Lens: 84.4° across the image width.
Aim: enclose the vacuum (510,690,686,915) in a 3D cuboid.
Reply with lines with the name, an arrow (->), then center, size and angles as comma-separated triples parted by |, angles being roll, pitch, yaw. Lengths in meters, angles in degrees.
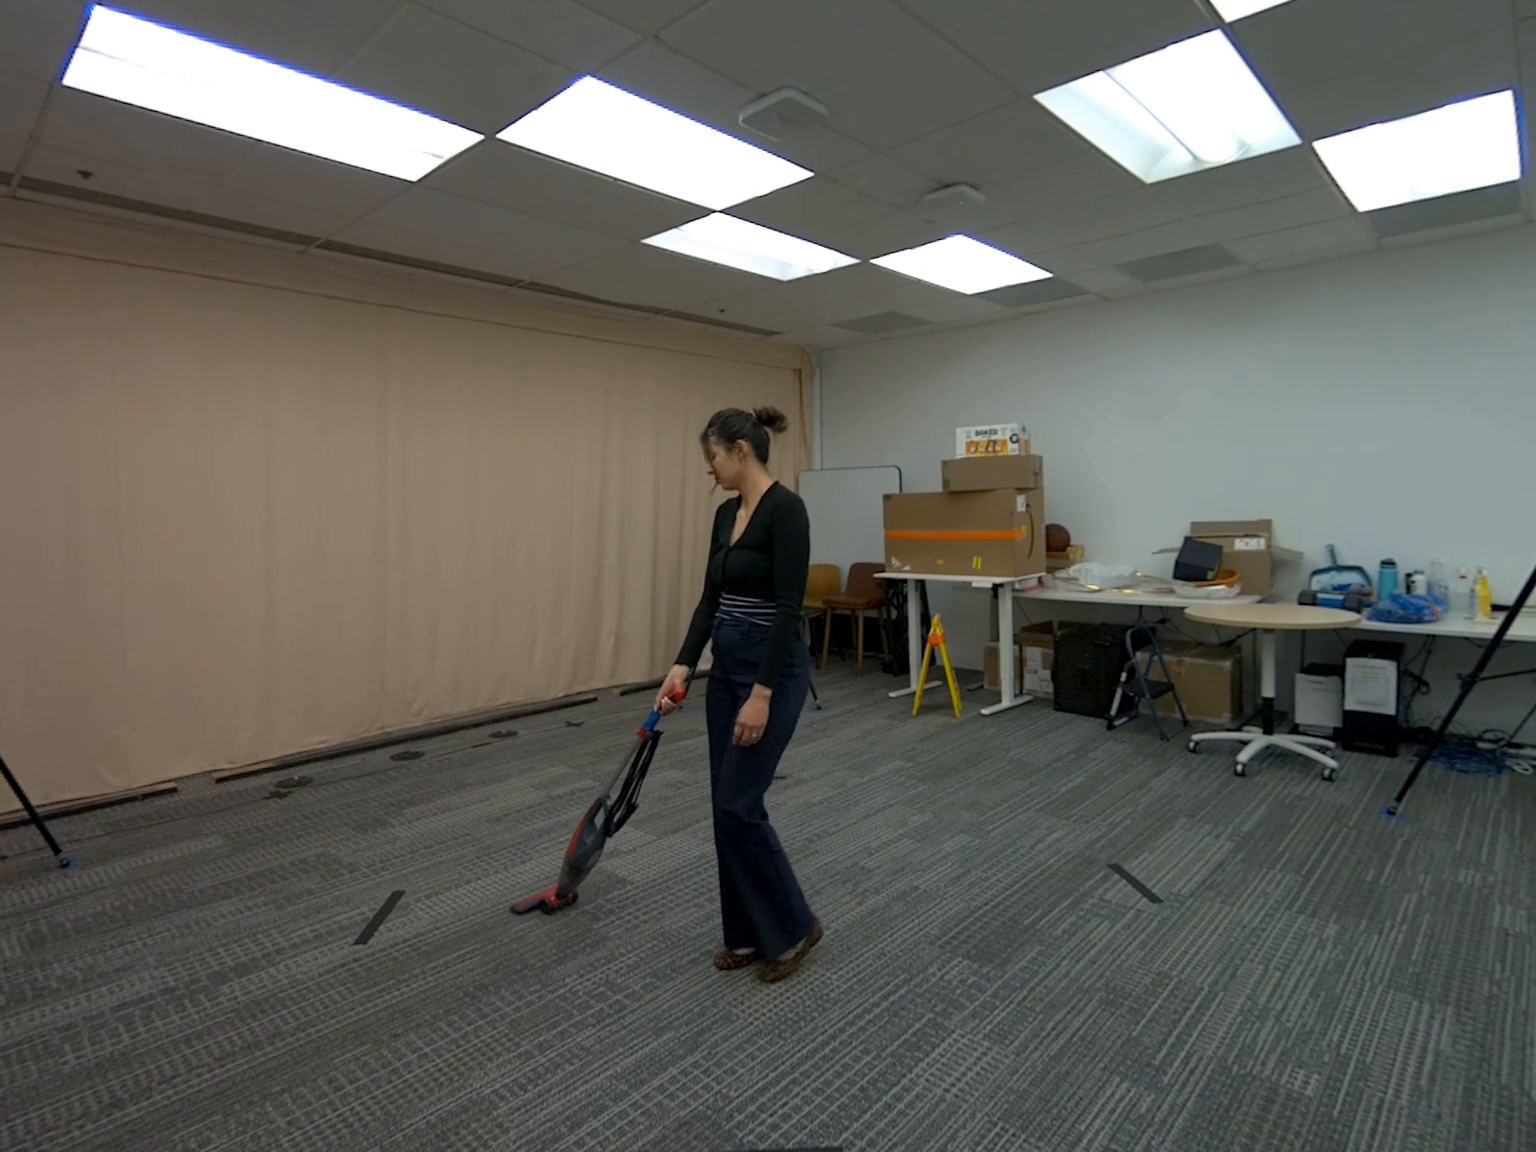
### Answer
vacuum -> -0.528, 0.761, 2.747 | 0.148, 1.050, 0.245 | 45, 29, 23
